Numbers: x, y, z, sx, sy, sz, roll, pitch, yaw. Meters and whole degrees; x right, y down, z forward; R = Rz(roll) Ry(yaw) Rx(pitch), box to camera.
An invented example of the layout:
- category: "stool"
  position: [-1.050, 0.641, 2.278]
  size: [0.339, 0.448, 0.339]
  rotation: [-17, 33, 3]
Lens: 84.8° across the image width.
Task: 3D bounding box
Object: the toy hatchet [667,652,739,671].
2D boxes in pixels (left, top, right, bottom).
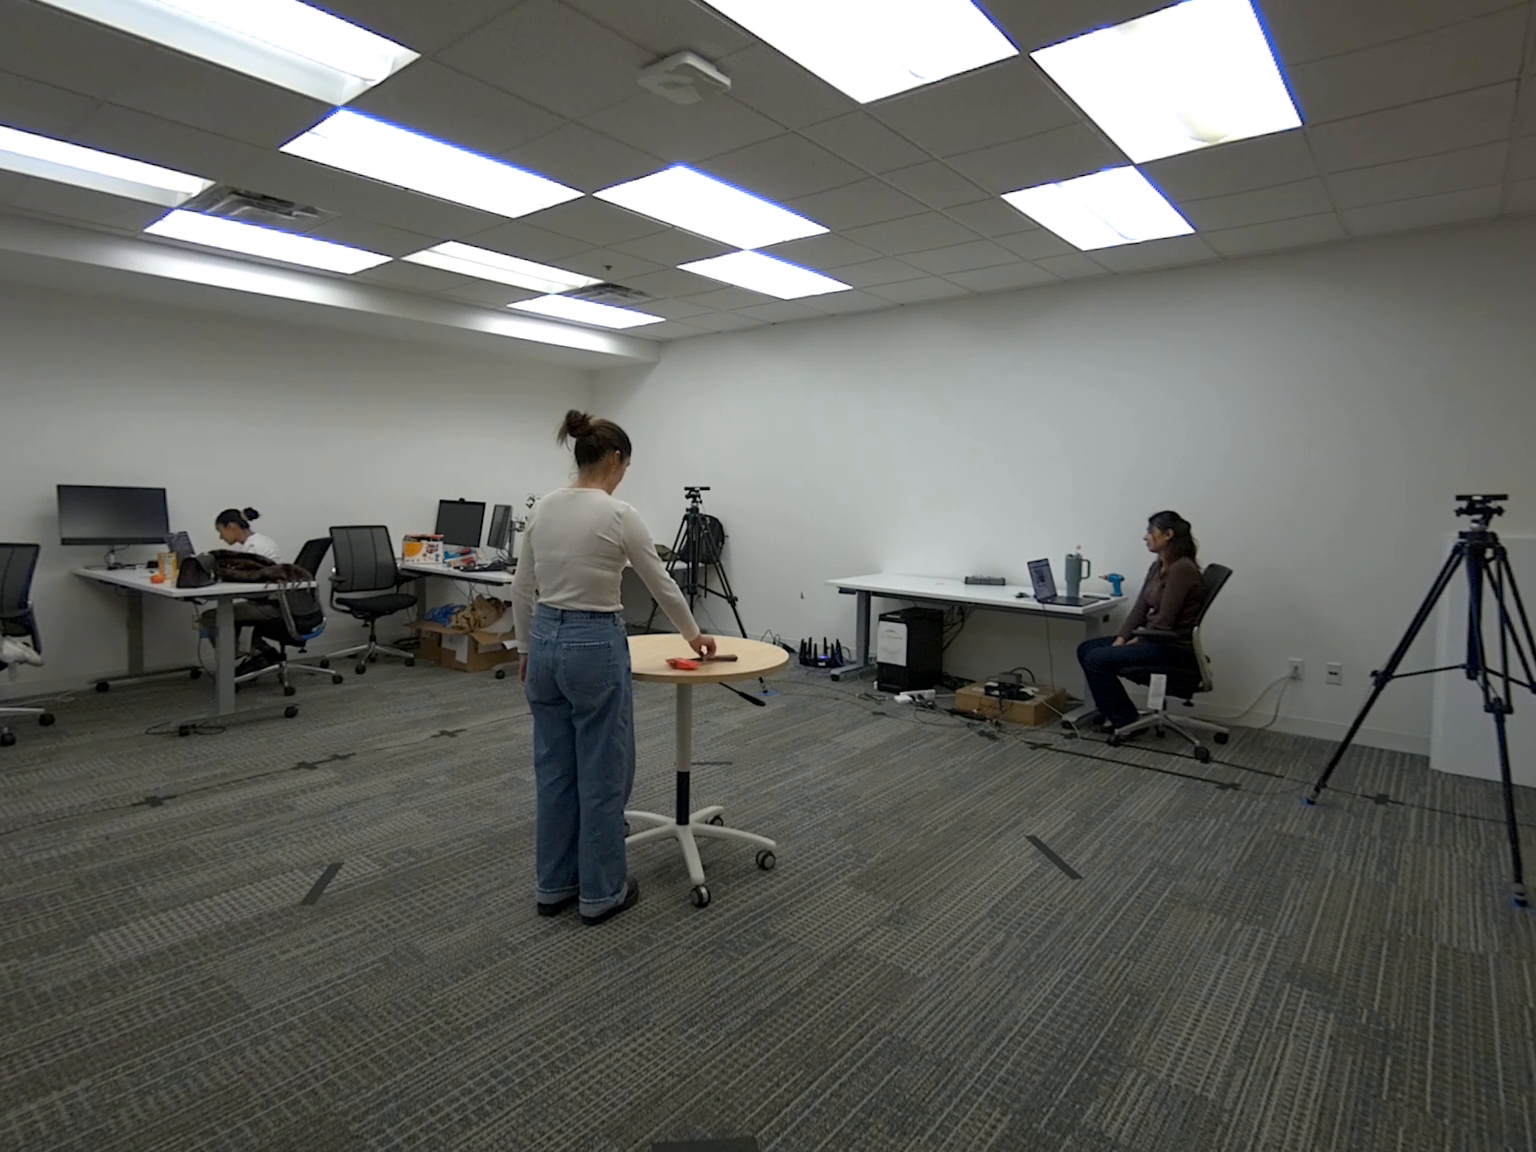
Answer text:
- category: "toy hatchet"
  position: [-0.212, 0.293, 2.934]
  size: [0.263, 0.029, 0.134]
  rotation: [0, 3, -25]
